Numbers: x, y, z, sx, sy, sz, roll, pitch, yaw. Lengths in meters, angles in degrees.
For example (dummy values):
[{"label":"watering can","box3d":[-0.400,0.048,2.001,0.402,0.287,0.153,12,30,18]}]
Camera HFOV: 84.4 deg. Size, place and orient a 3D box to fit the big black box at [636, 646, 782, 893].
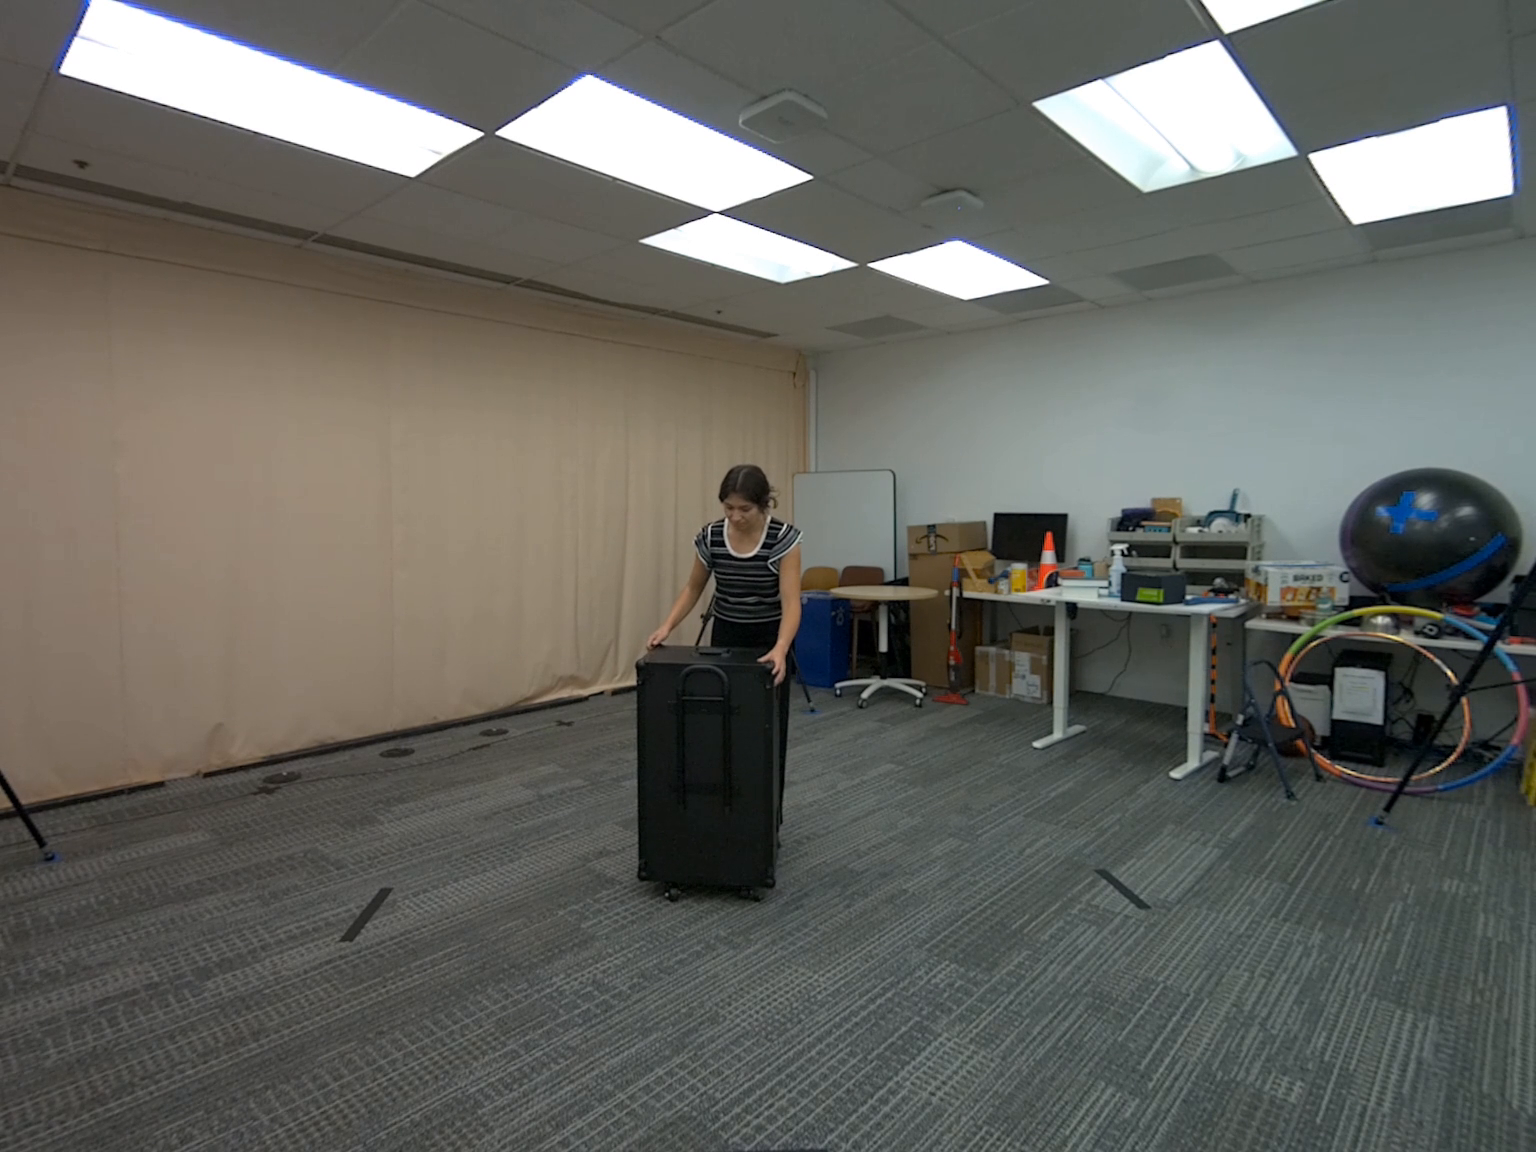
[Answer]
[{"label":"big black box","box3d":[-0.196,0.718,3.085,0.524,0.859,0.395,1,4,4]}]
